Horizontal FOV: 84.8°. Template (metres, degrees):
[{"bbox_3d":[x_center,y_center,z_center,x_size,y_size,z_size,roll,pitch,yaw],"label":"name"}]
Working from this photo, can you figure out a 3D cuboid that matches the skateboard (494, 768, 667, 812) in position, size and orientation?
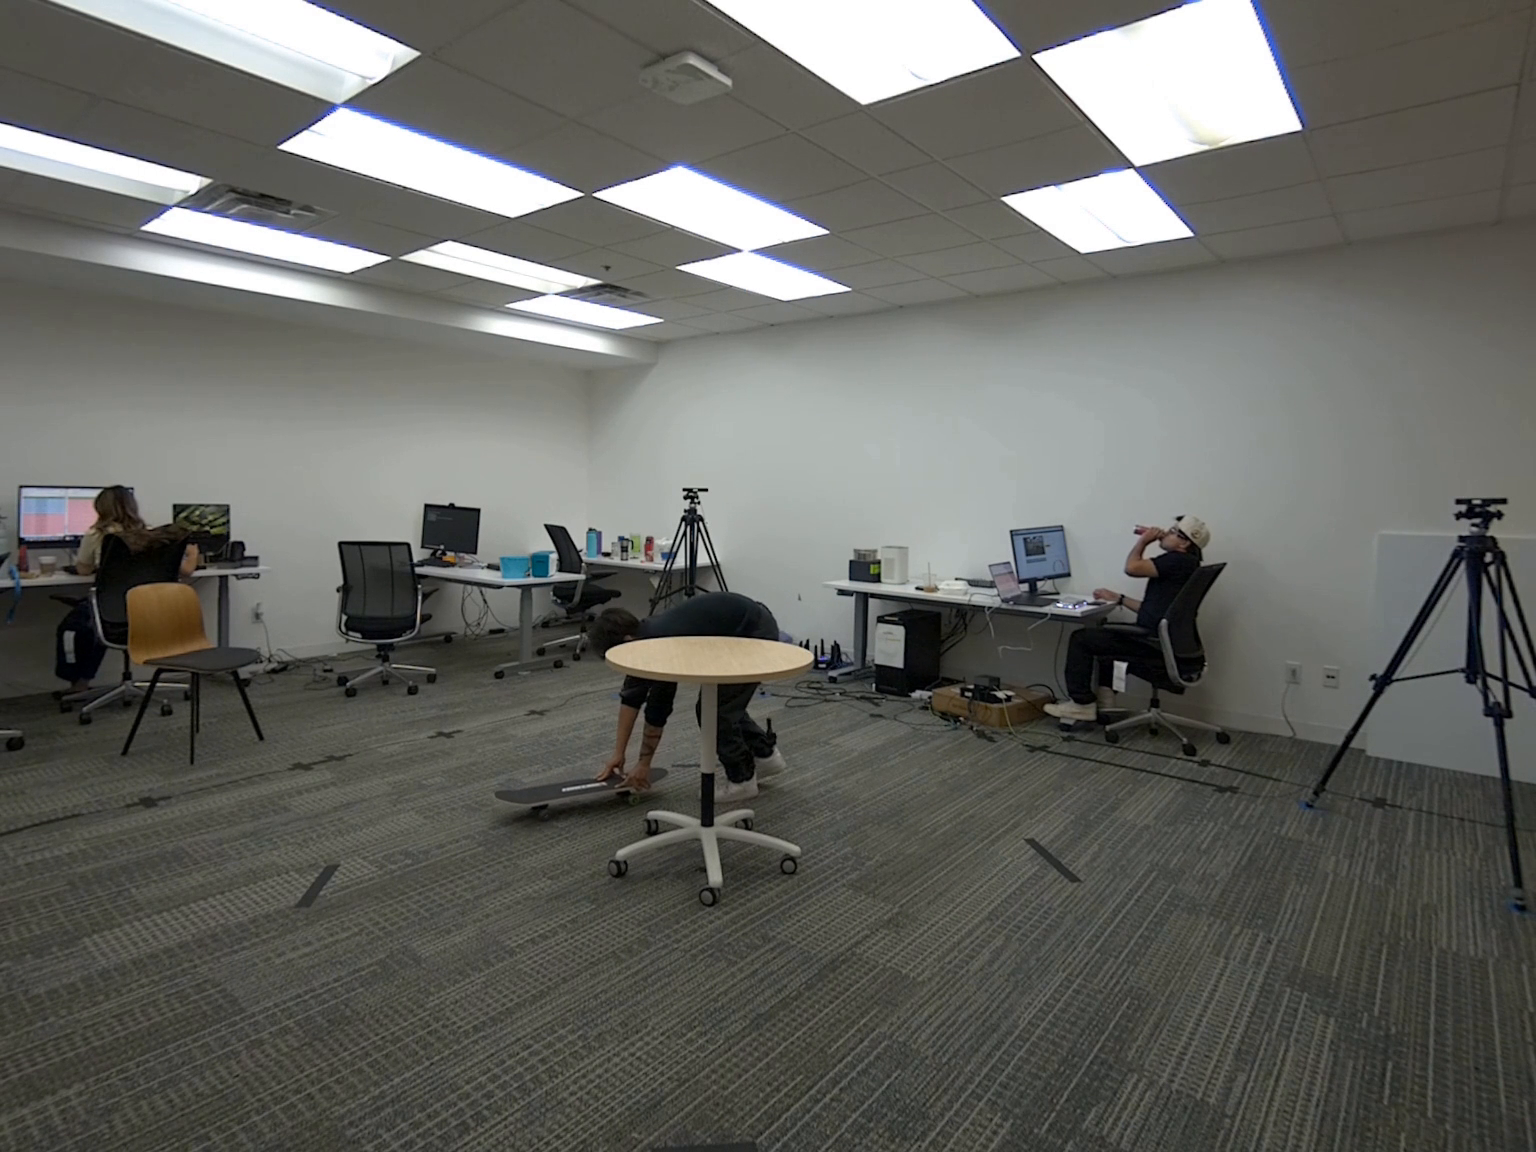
[{"bbox_3d":[-0.811,0.947,3.699,0.765,0.110,0.199,-2,6,-28],"label":"skateboard"}]
